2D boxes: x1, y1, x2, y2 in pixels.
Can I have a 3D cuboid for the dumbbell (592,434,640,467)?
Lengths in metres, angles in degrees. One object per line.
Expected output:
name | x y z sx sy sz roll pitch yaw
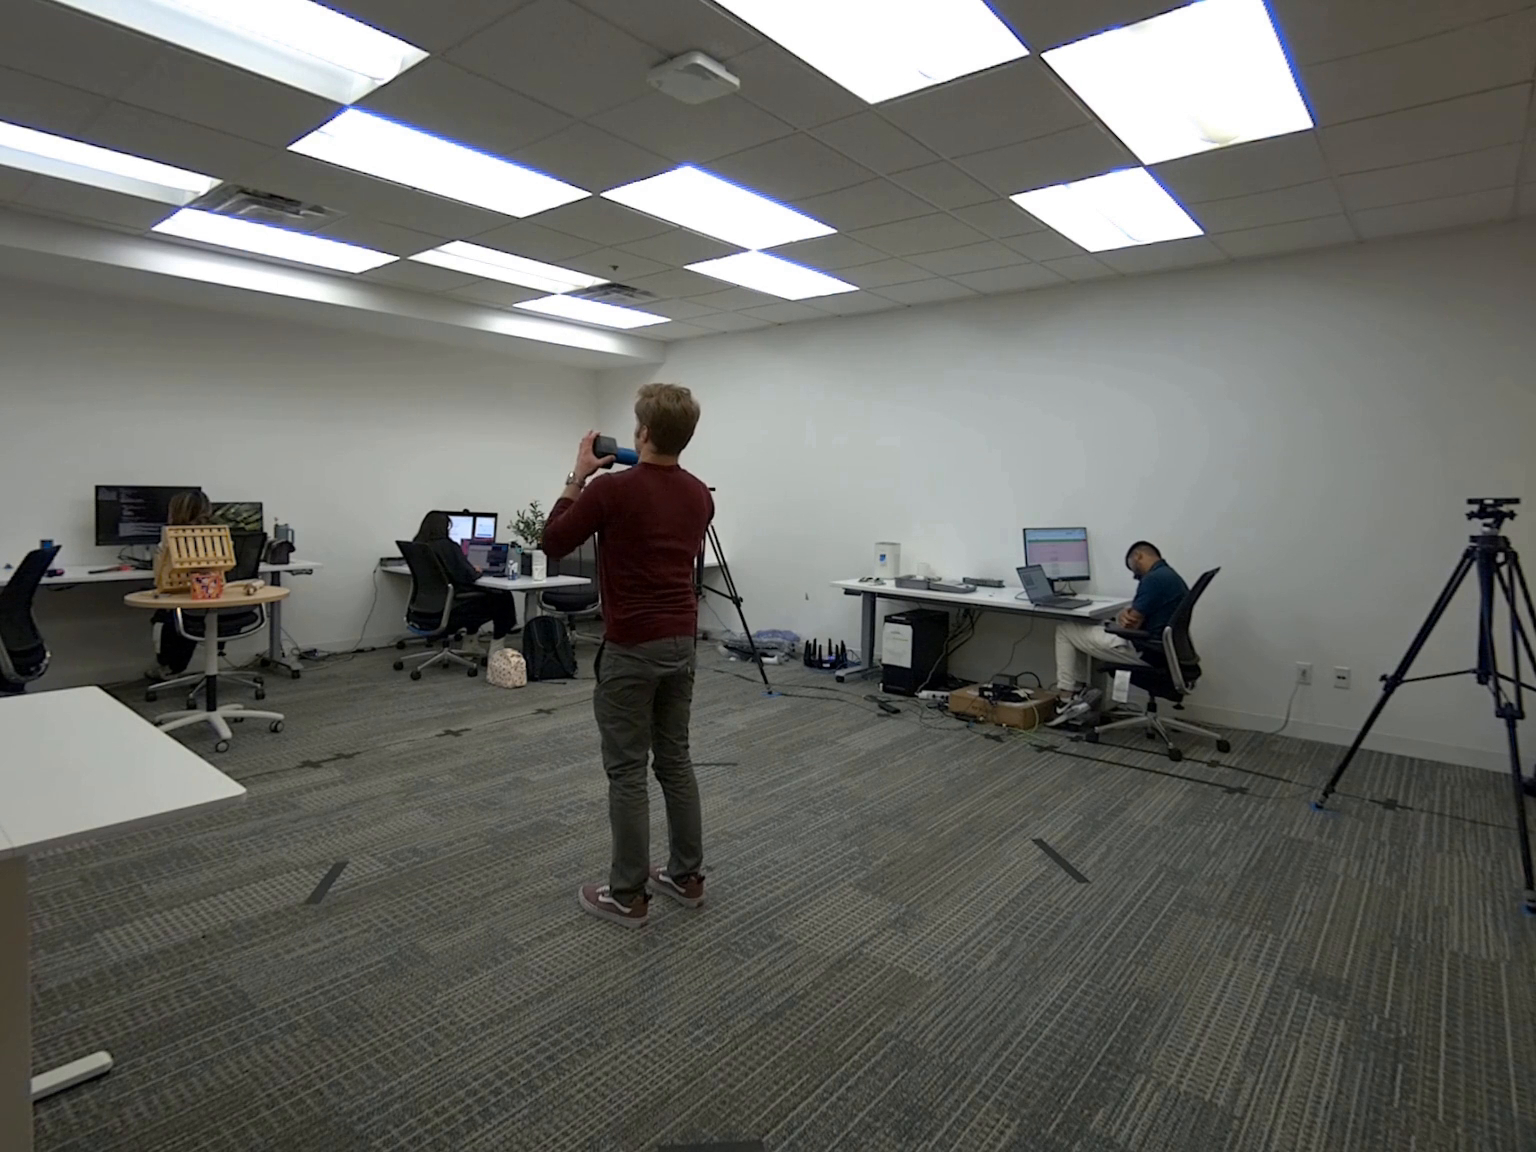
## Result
dumbbell | -0.489 -0.428 2.910 0.284 0.126 0.109 6 -29 -38
